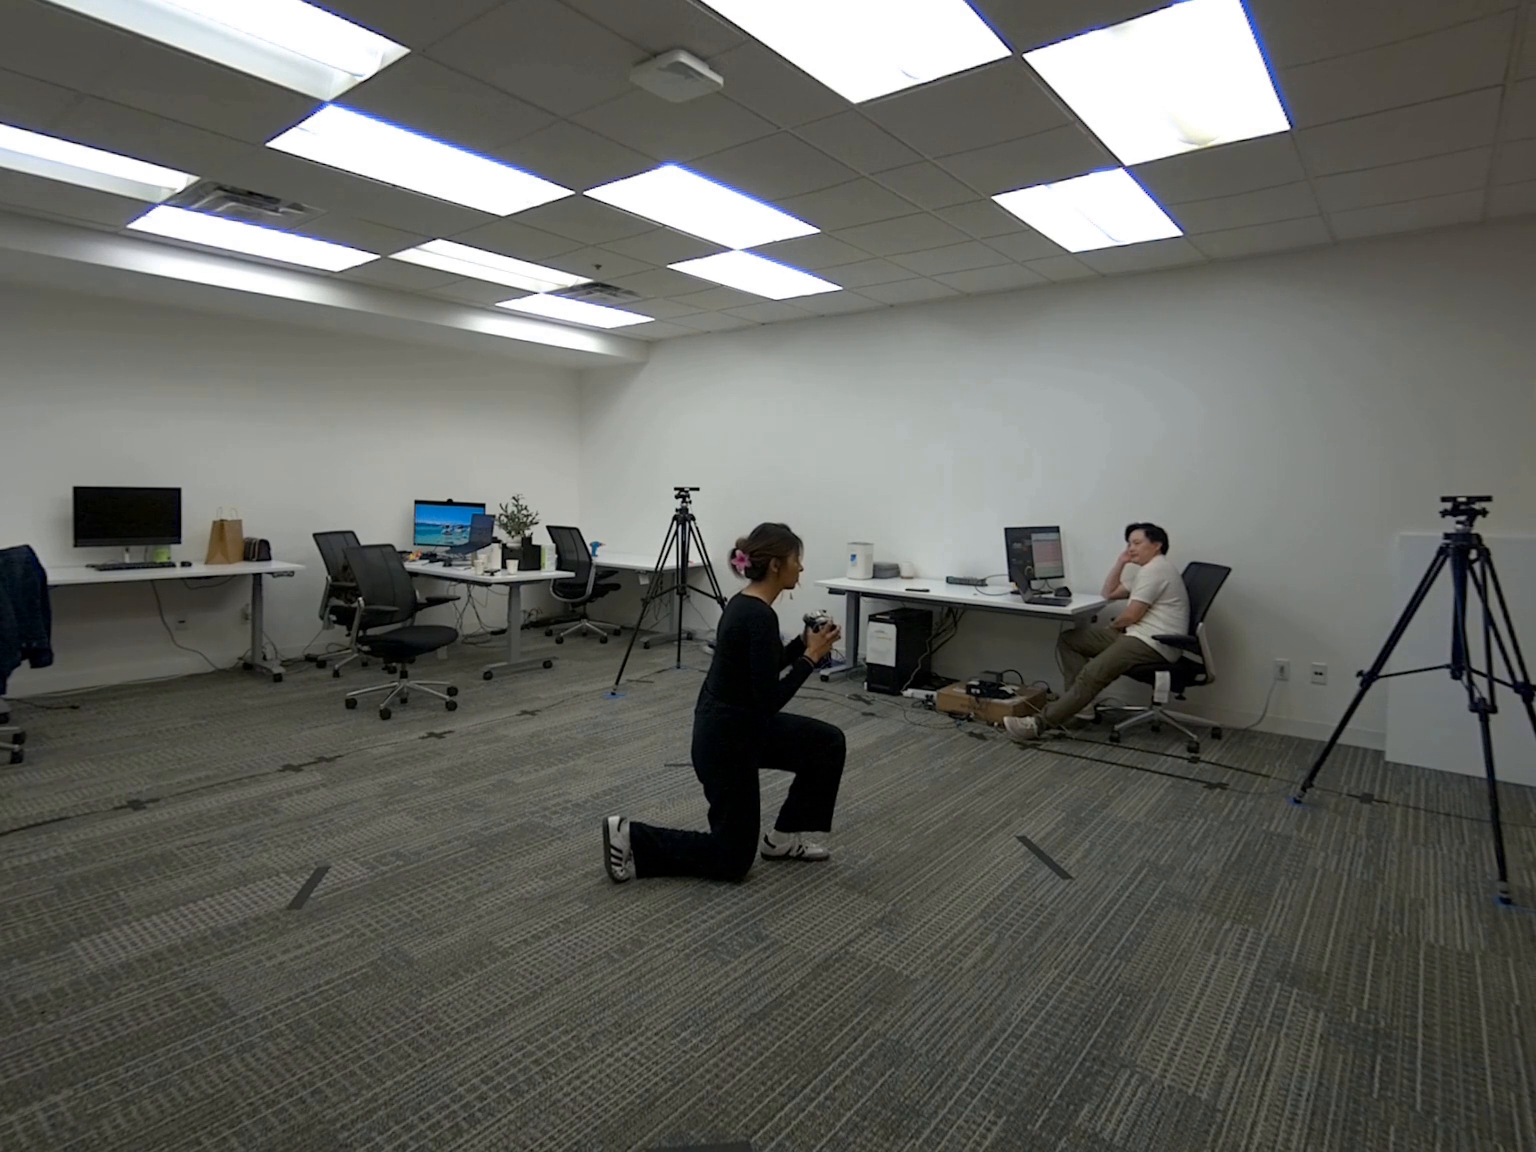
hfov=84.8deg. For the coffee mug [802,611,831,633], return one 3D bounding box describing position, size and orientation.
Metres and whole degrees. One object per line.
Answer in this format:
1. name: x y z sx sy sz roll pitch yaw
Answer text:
1. coffee mug: 0.186 0.168 3.100 0.088 0.120 0.206 -39 13 6
